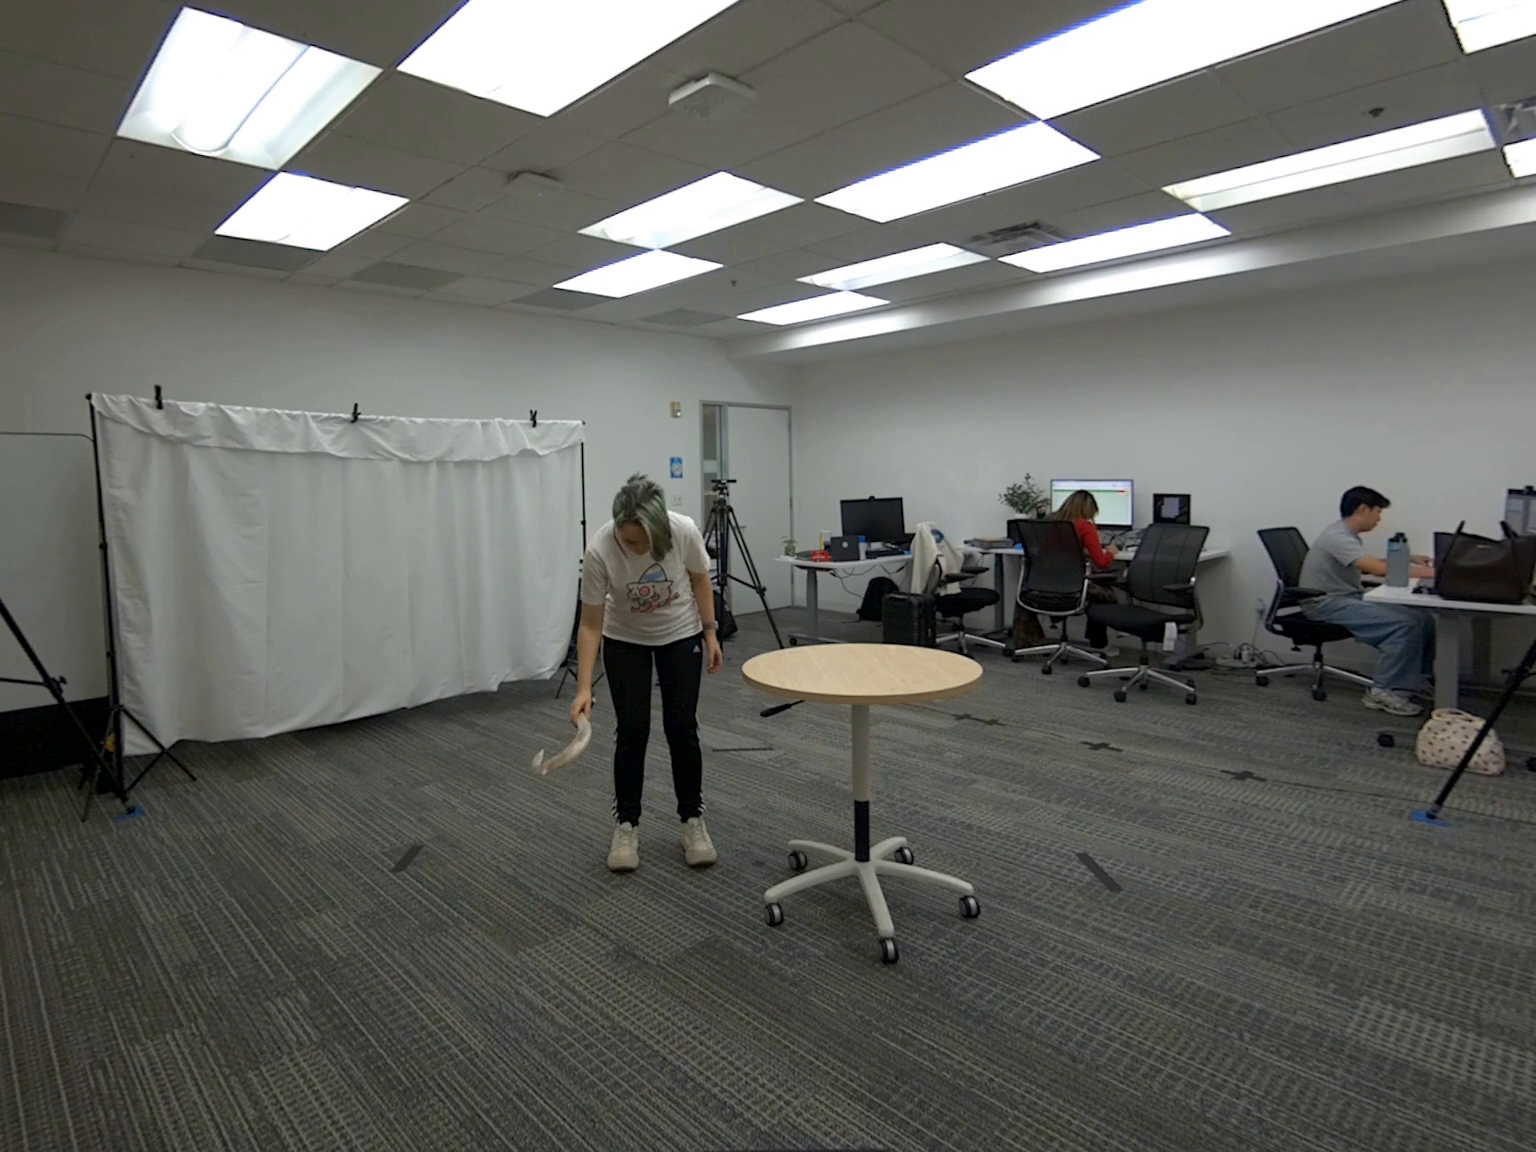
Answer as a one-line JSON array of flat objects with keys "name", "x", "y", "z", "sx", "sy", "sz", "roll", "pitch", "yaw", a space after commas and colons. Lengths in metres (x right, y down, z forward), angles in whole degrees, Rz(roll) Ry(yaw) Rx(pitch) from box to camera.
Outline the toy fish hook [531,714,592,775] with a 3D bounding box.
[{"name": "toy fish hook", "x": -0.671, "y": 0.523, "z": 2.846, "sx": 0.225, "sy": 0.047, "sz": 0.513, "roll": -27, "pitch": 14, "yaw": 2}]
